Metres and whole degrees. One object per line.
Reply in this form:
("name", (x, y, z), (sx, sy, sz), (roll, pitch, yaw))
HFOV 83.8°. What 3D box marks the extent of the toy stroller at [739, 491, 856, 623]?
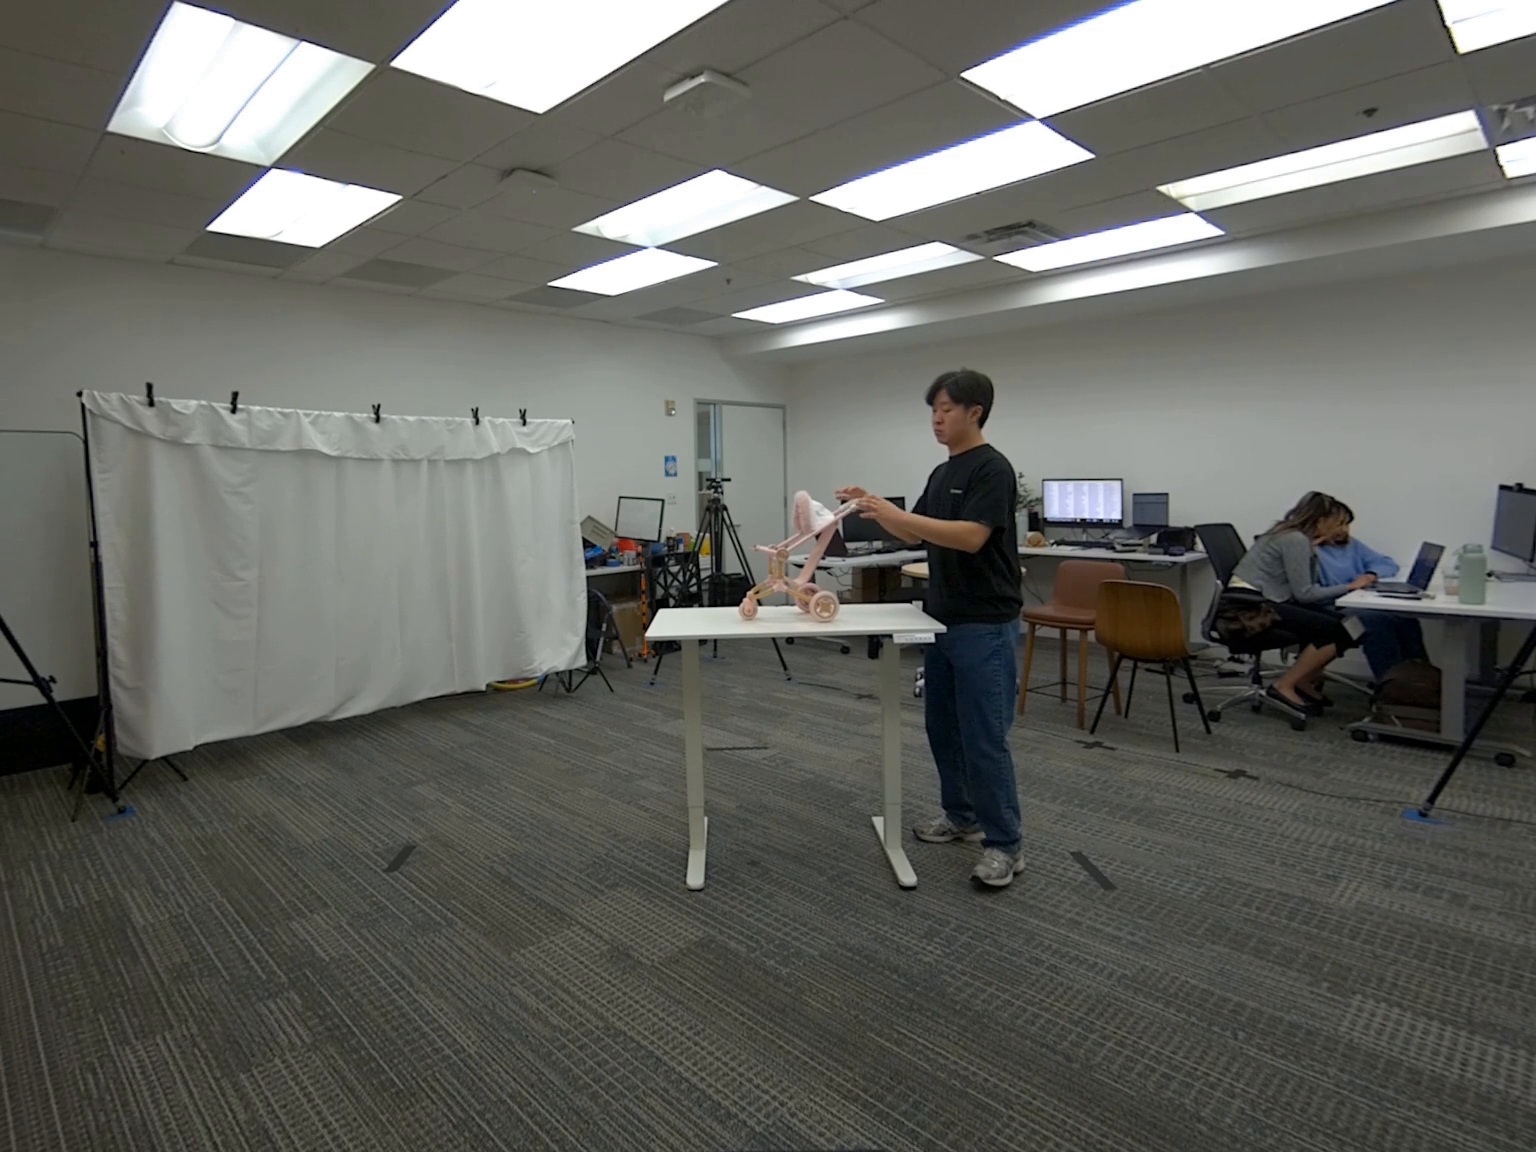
("toy stroller", (0.112, -0.070, 3.115), (0.340, 0.534, 0.283), (14, 2, -4))
